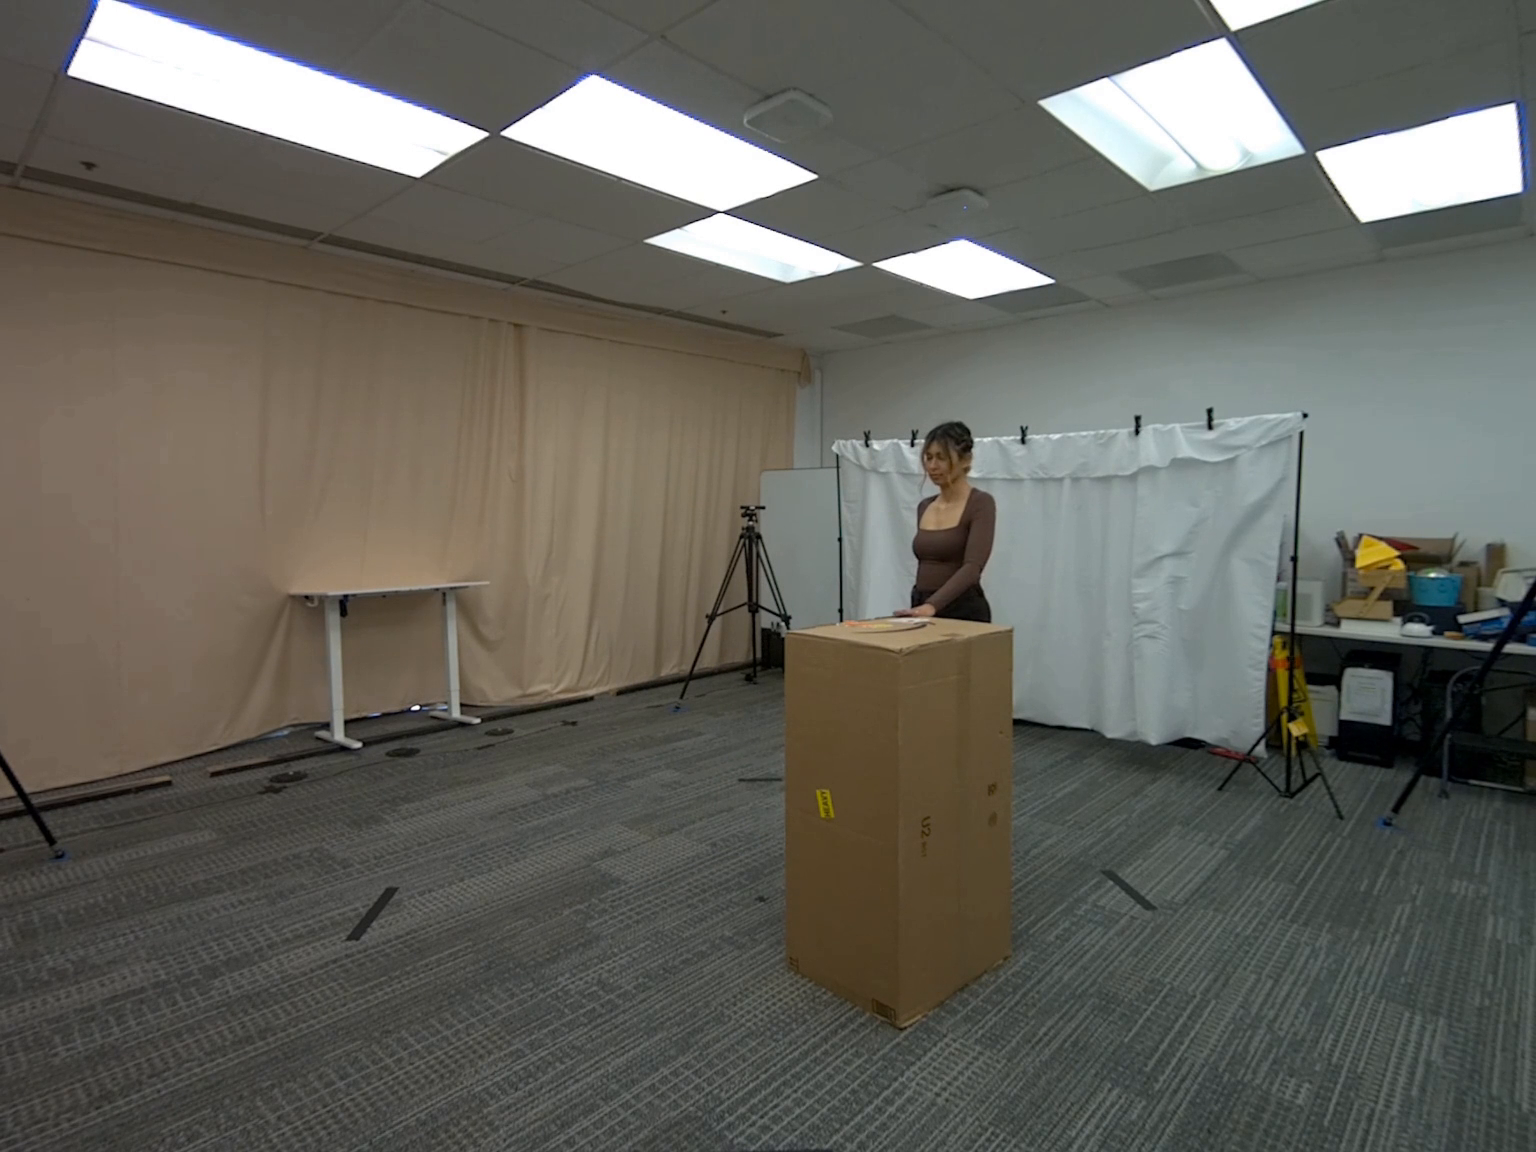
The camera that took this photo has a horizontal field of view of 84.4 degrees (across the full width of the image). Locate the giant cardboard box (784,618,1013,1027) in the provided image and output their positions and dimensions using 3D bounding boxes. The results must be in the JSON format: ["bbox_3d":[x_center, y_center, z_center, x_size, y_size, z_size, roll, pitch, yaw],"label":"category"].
[{"bbox_3d":[0.404,0.670,2.552,0.566,1.025,0.461,-3,3,-41],"label":"giant cardboard box"}]
